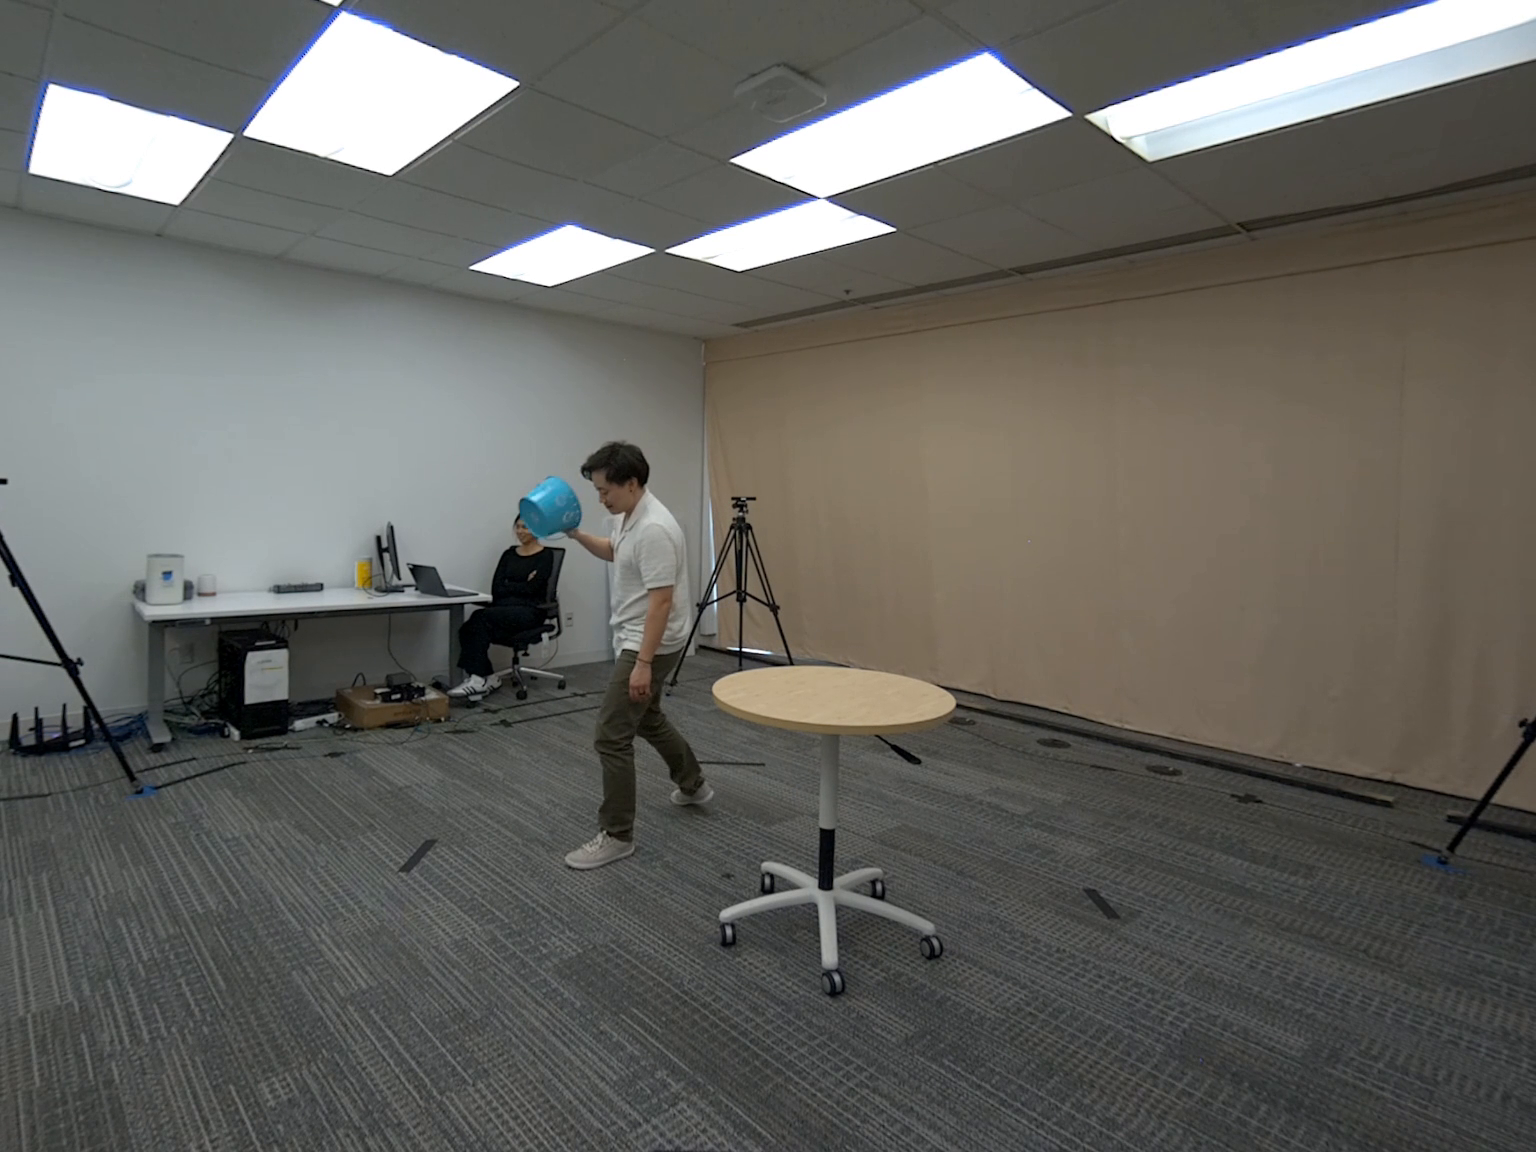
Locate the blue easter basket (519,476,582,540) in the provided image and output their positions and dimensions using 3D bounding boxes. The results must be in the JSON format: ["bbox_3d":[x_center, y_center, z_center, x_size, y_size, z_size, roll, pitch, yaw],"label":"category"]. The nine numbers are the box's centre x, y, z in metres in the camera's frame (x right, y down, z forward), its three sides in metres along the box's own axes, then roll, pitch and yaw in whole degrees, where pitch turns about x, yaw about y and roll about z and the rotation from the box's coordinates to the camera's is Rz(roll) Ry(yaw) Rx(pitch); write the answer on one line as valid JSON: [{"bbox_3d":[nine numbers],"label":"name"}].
[{"bbox_3d":[-0.873,-0.240,3.389,0.250,0.239,0.155,6,32,45],"label":"blue easter basket"}]
